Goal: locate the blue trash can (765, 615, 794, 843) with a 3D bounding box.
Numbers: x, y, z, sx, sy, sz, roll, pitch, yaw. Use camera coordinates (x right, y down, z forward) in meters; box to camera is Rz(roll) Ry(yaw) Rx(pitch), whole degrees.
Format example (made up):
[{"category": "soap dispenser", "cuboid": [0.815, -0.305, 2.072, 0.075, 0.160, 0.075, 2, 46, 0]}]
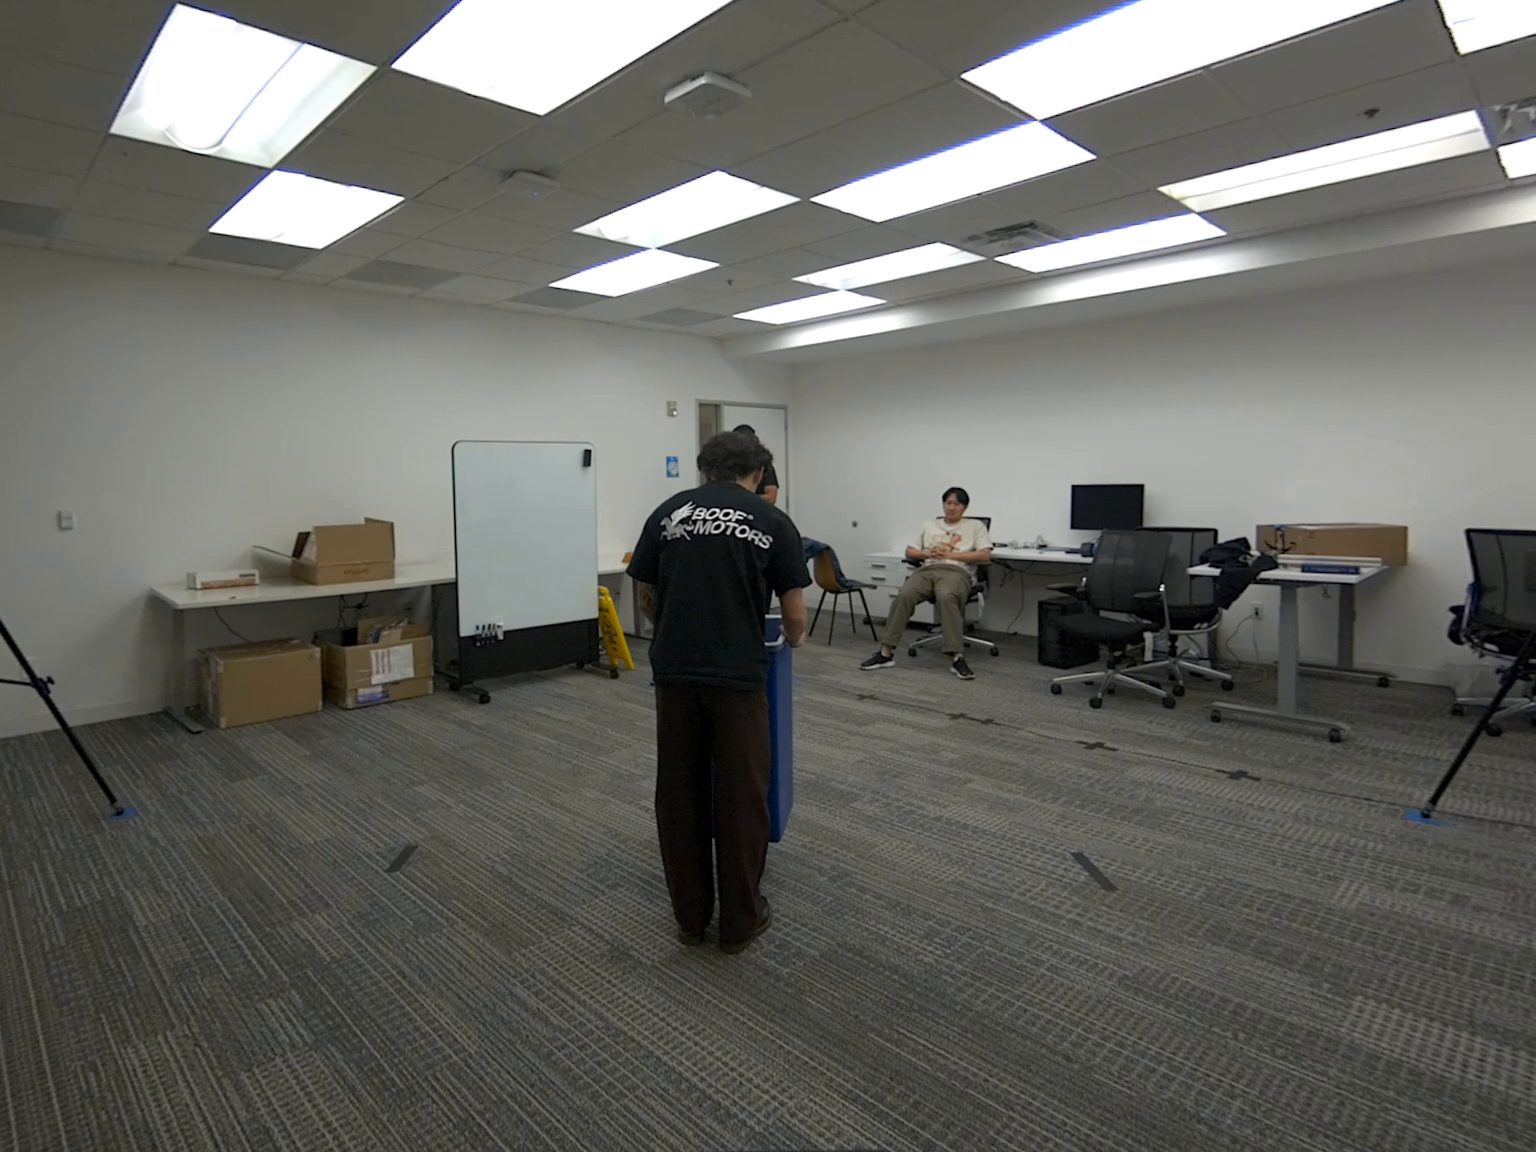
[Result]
[{"category": "blue trash can", "cuboid": [-0.082, 0.535, 3.025, 0.379, 0.707, 0.376, -1, 9, 12]}]
